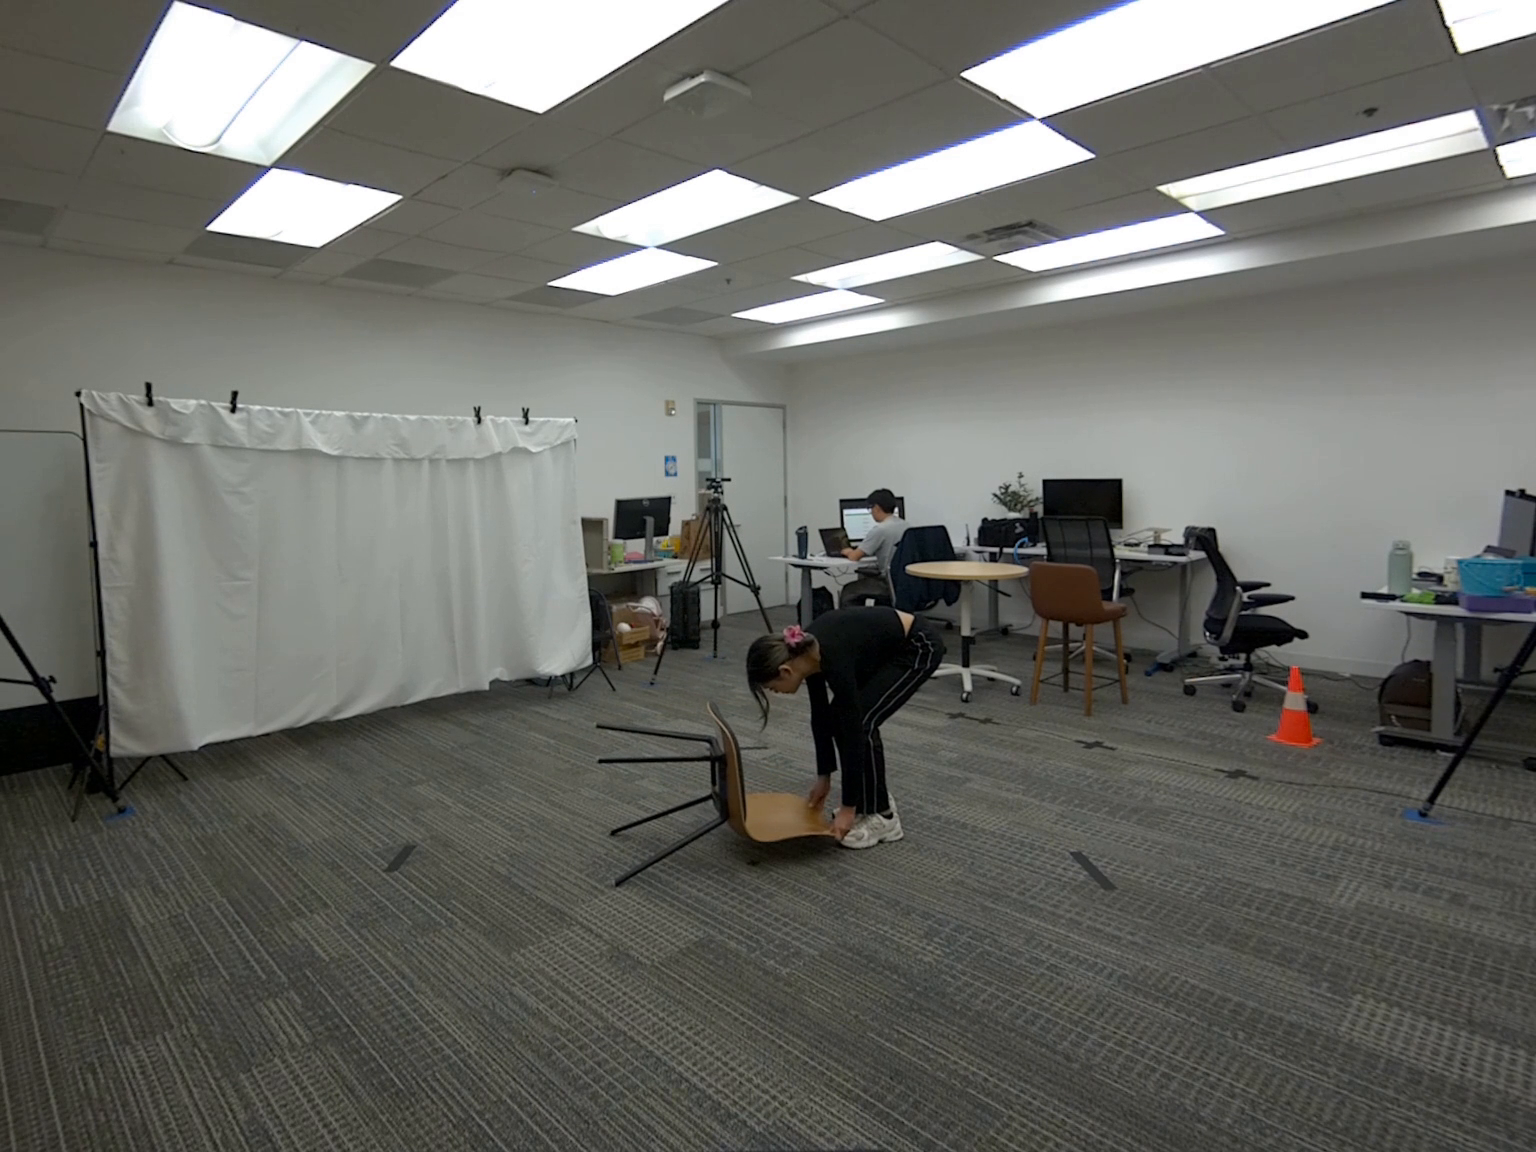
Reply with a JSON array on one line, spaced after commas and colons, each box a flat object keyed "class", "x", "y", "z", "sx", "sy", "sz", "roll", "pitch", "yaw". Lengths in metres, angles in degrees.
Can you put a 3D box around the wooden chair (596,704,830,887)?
[{"class": "wooden chair", "x": -0.182, "y": 0.751, "z": 3.203, "sx": 0.869, "sy": 0.521, "sz": 0.484, "roll": -4, "pitch": 5, "yaw": -10}]
